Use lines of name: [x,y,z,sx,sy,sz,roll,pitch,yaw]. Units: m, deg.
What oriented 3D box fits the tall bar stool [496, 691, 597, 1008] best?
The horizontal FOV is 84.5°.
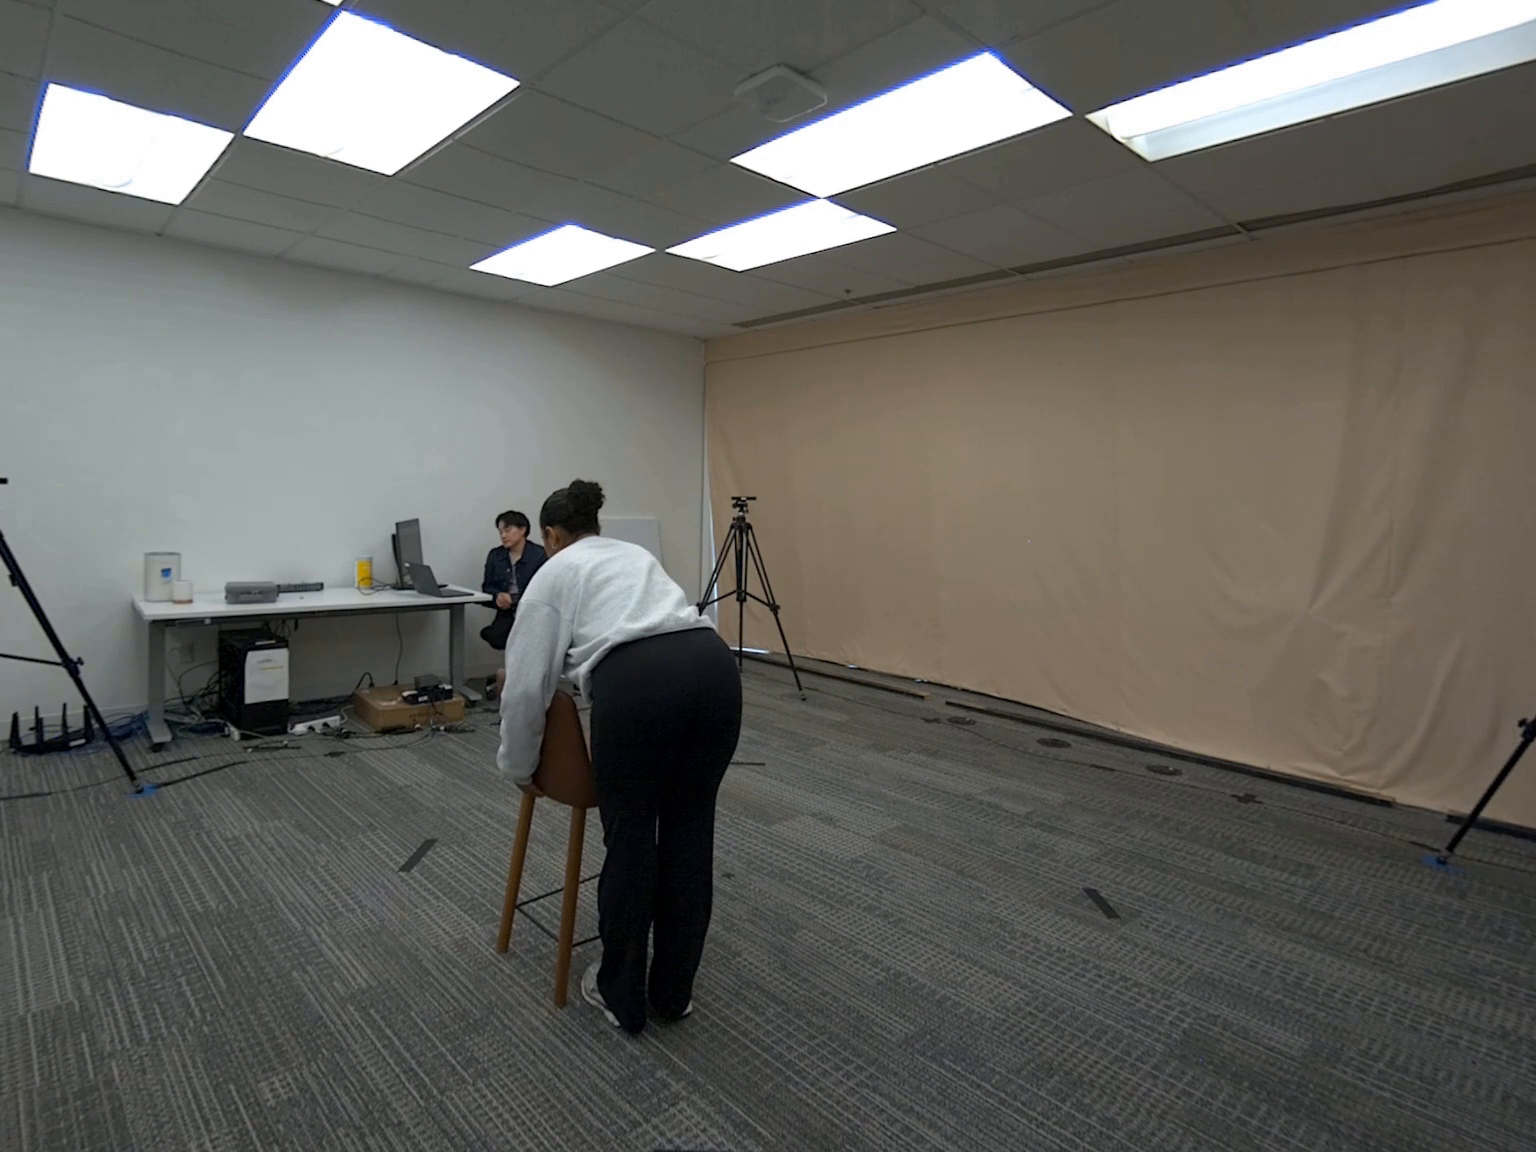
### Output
tall bar stool: [-0.539,0.713,2.540,0.457,0.887,0.468,-5,6,-42]
